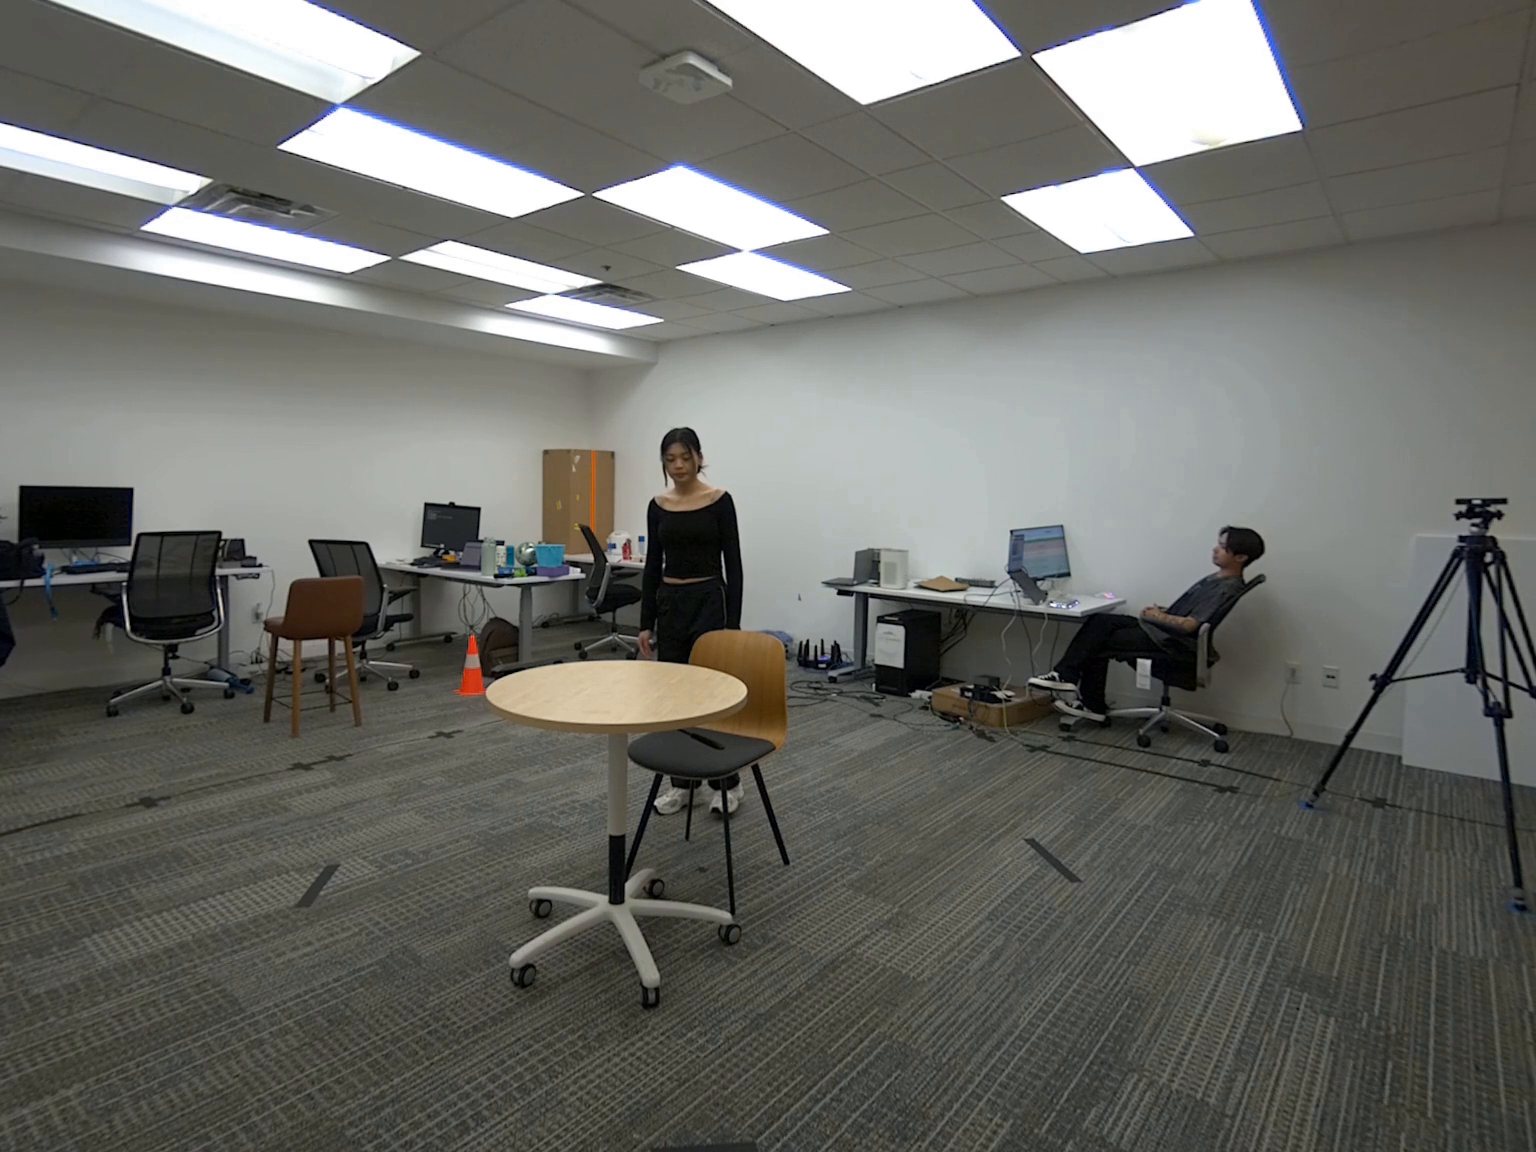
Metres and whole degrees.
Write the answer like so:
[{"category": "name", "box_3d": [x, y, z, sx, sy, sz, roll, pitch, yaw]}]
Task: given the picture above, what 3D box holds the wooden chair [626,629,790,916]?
[{"category": "wooden chair", "box_3d": [-0.217, 0.646, 3.042, 0.491, 0.878, 0.508, 3, 0, 27]}]
